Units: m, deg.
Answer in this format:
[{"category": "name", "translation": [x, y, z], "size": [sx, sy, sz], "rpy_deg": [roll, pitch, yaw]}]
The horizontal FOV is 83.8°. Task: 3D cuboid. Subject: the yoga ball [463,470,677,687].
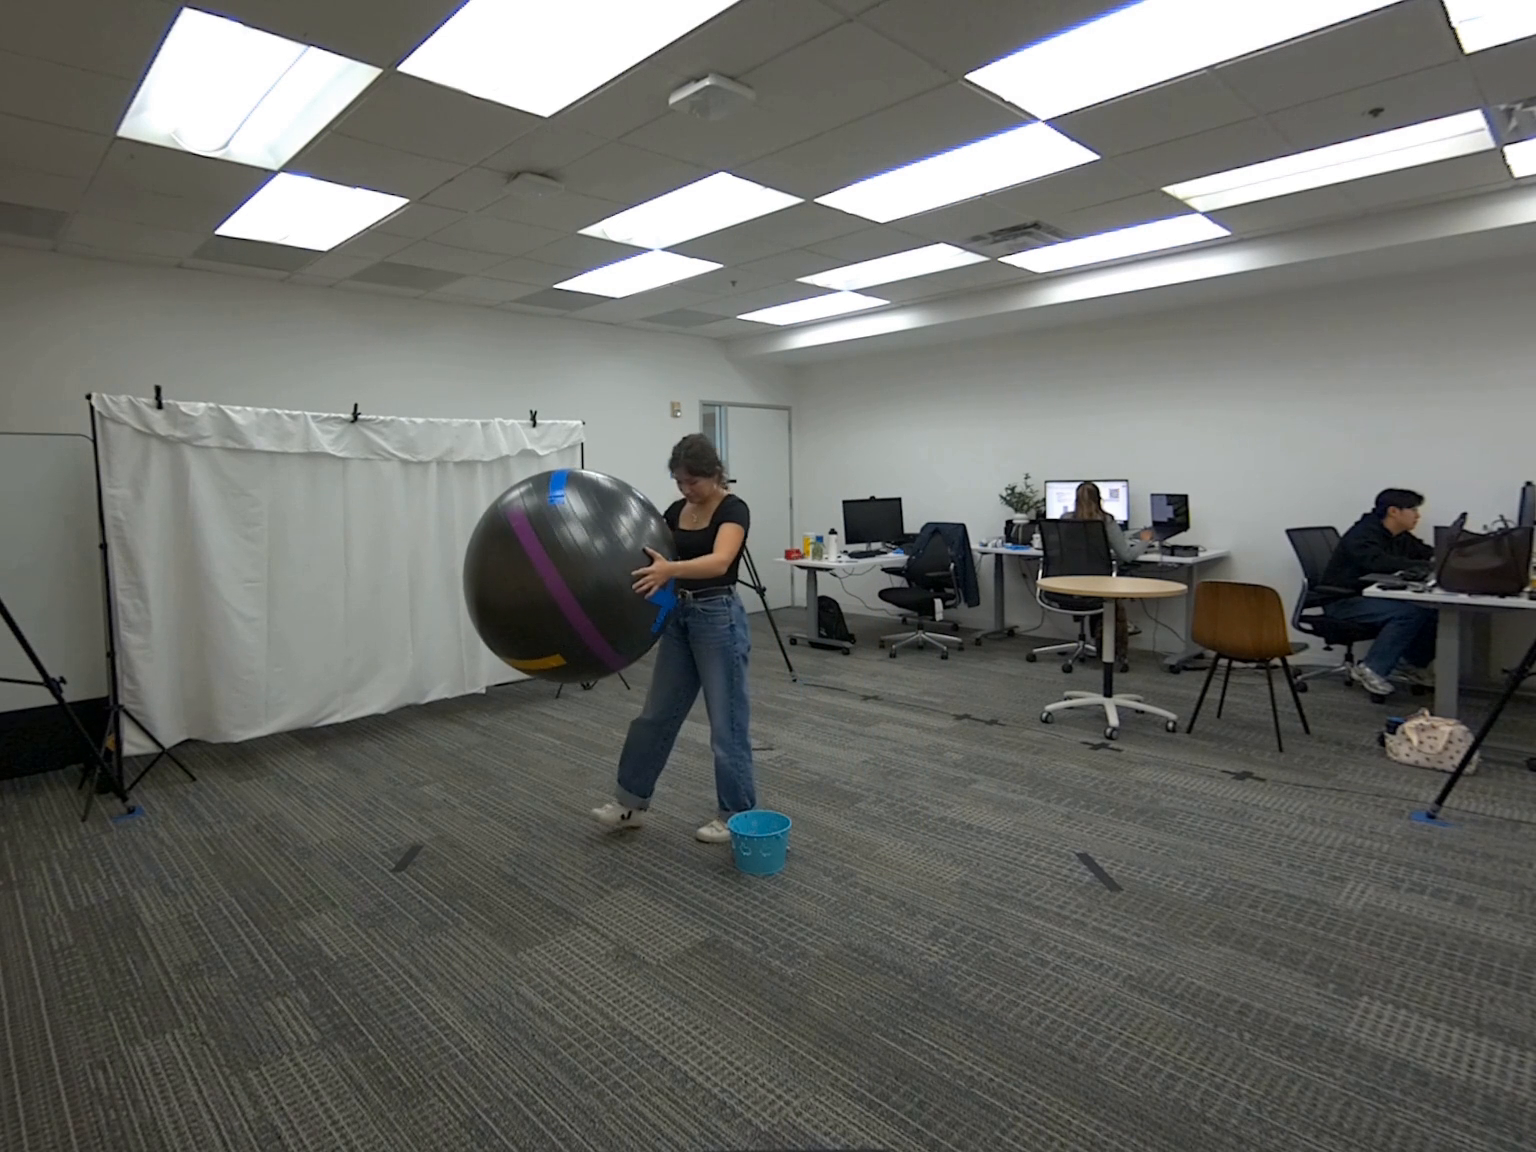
[{"category": "yoga ball", "translation": [-0.702, 0.000, 3.044], "size": [0.757, 0.755, 0.762], "rpy_deg": [-1, 5, -2]}]
